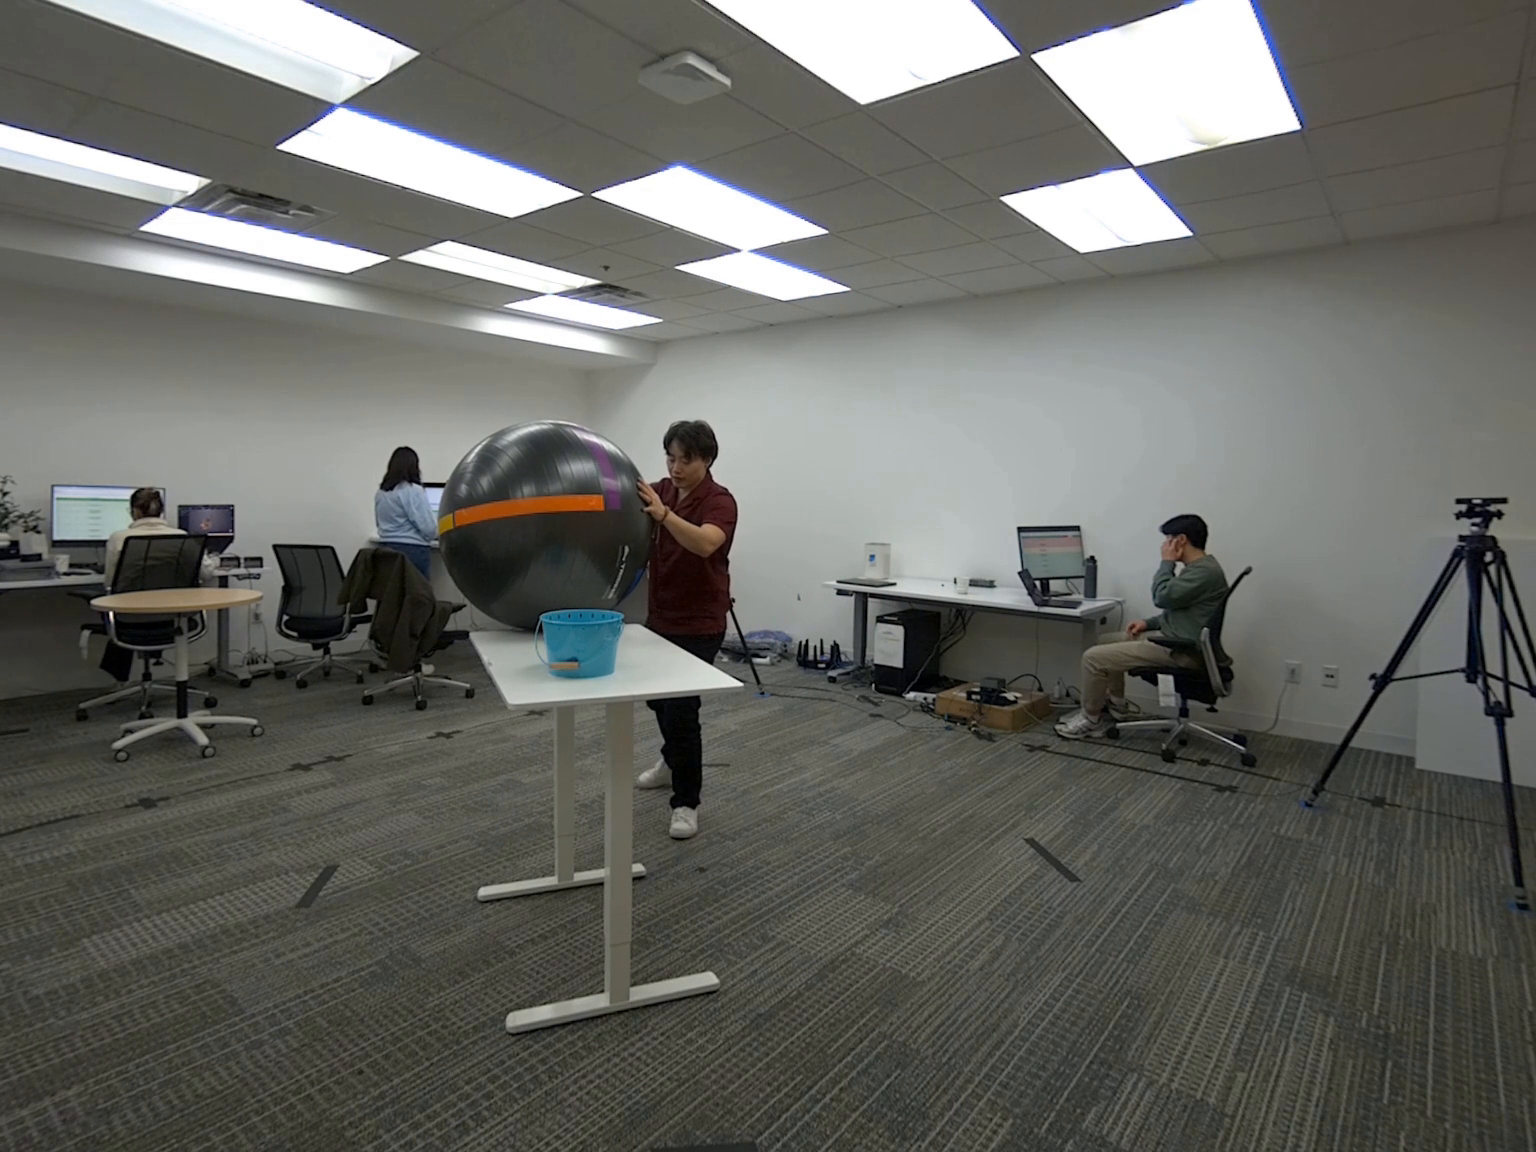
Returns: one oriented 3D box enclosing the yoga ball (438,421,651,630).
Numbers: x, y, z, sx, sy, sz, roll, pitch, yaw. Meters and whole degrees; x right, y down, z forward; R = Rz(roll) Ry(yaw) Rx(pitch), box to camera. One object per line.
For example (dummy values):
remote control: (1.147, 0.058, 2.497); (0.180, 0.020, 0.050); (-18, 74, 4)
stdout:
yoga ball: (-0.800, -0.173, 3.049); (0.757, 0.756, 0.762); (1, 4, -2)
